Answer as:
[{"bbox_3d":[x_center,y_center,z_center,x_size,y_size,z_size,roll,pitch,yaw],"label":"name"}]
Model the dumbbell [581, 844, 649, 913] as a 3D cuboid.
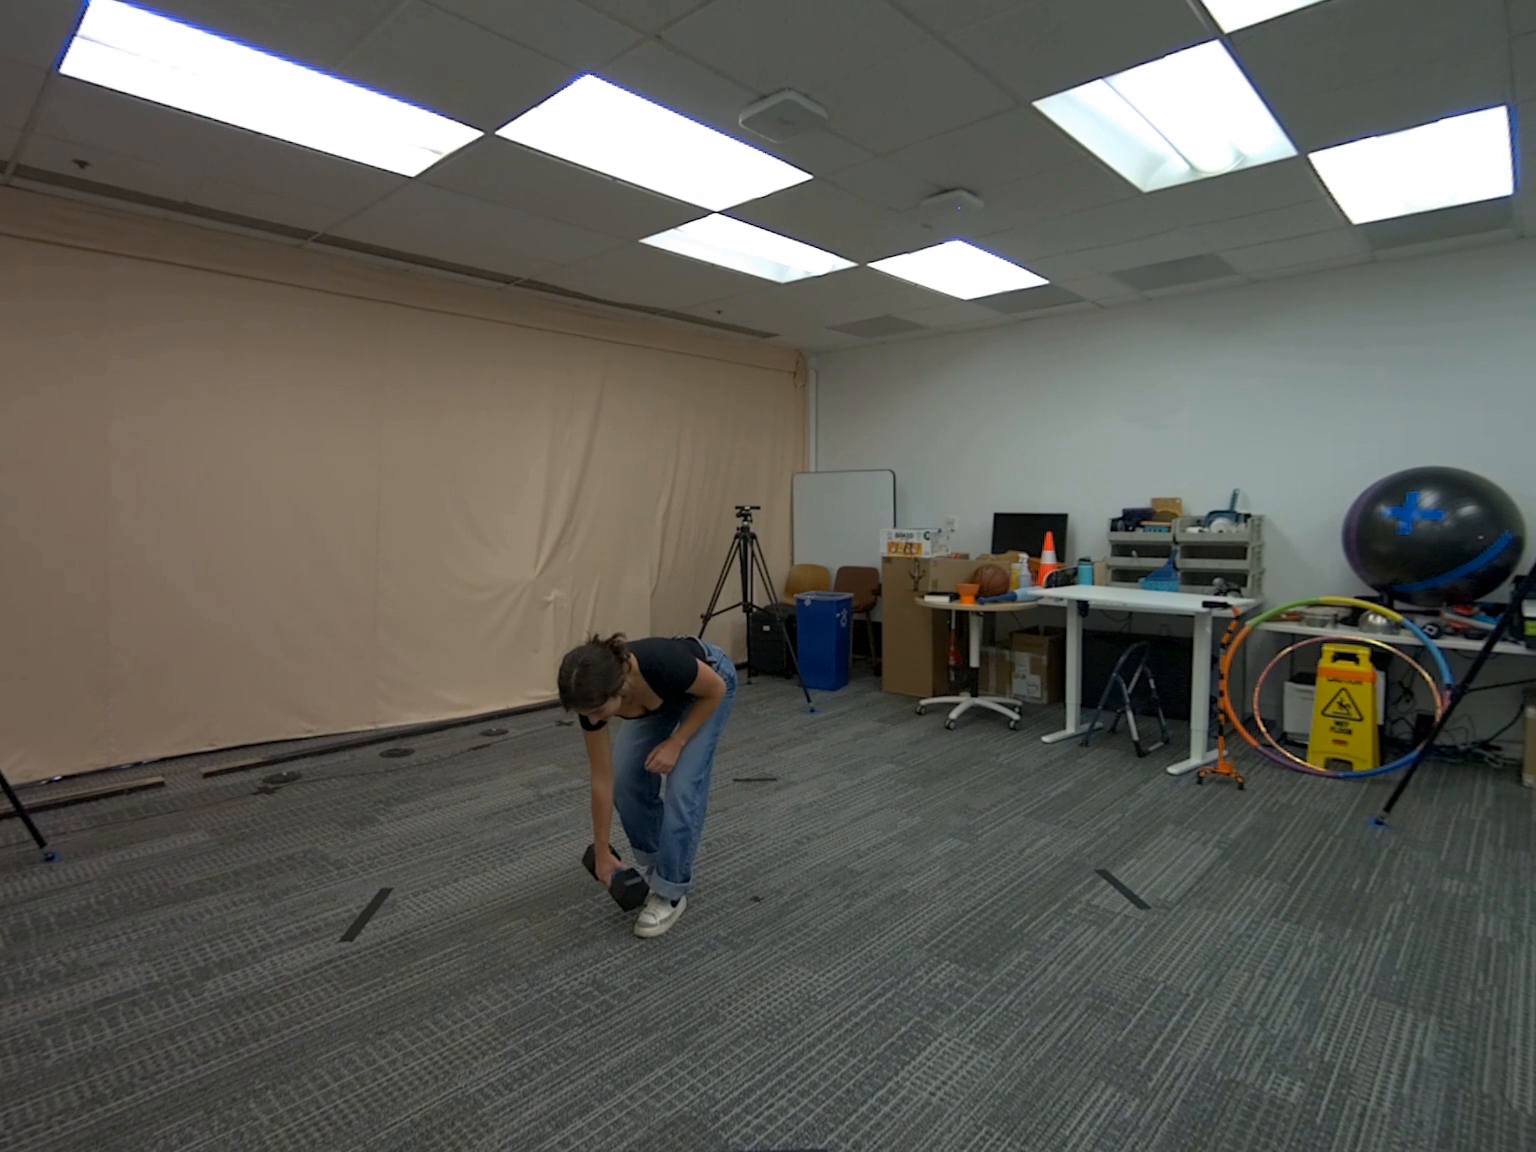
[{"bbox_3d":[-0.503,0.984,2.760,0.108,0.120,0.303,-40,28,-21],"label":"dumbbell"}]
